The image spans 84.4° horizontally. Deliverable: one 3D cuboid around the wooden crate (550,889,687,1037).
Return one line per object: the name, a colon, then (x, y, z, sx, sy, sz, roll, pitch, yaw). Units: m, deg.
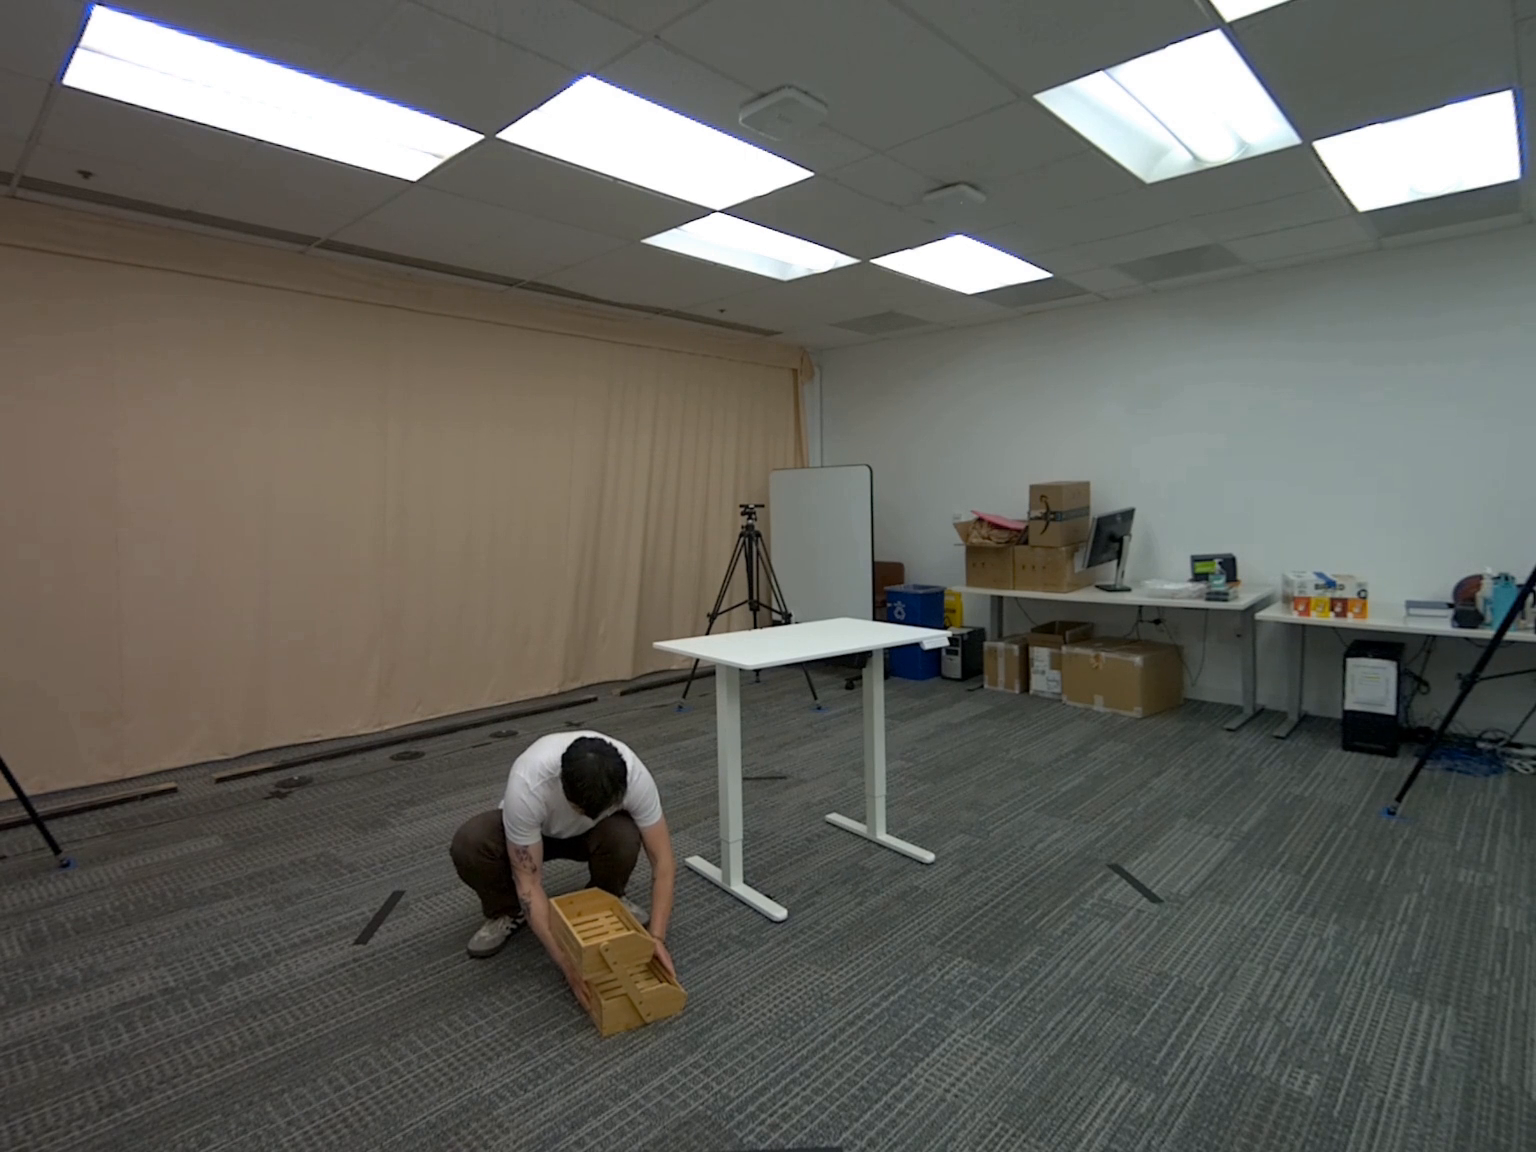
wooden crate: (-0.422, 1.056, 2.384, 0.294, 0.273, 0.334, -3, 4, -30)
